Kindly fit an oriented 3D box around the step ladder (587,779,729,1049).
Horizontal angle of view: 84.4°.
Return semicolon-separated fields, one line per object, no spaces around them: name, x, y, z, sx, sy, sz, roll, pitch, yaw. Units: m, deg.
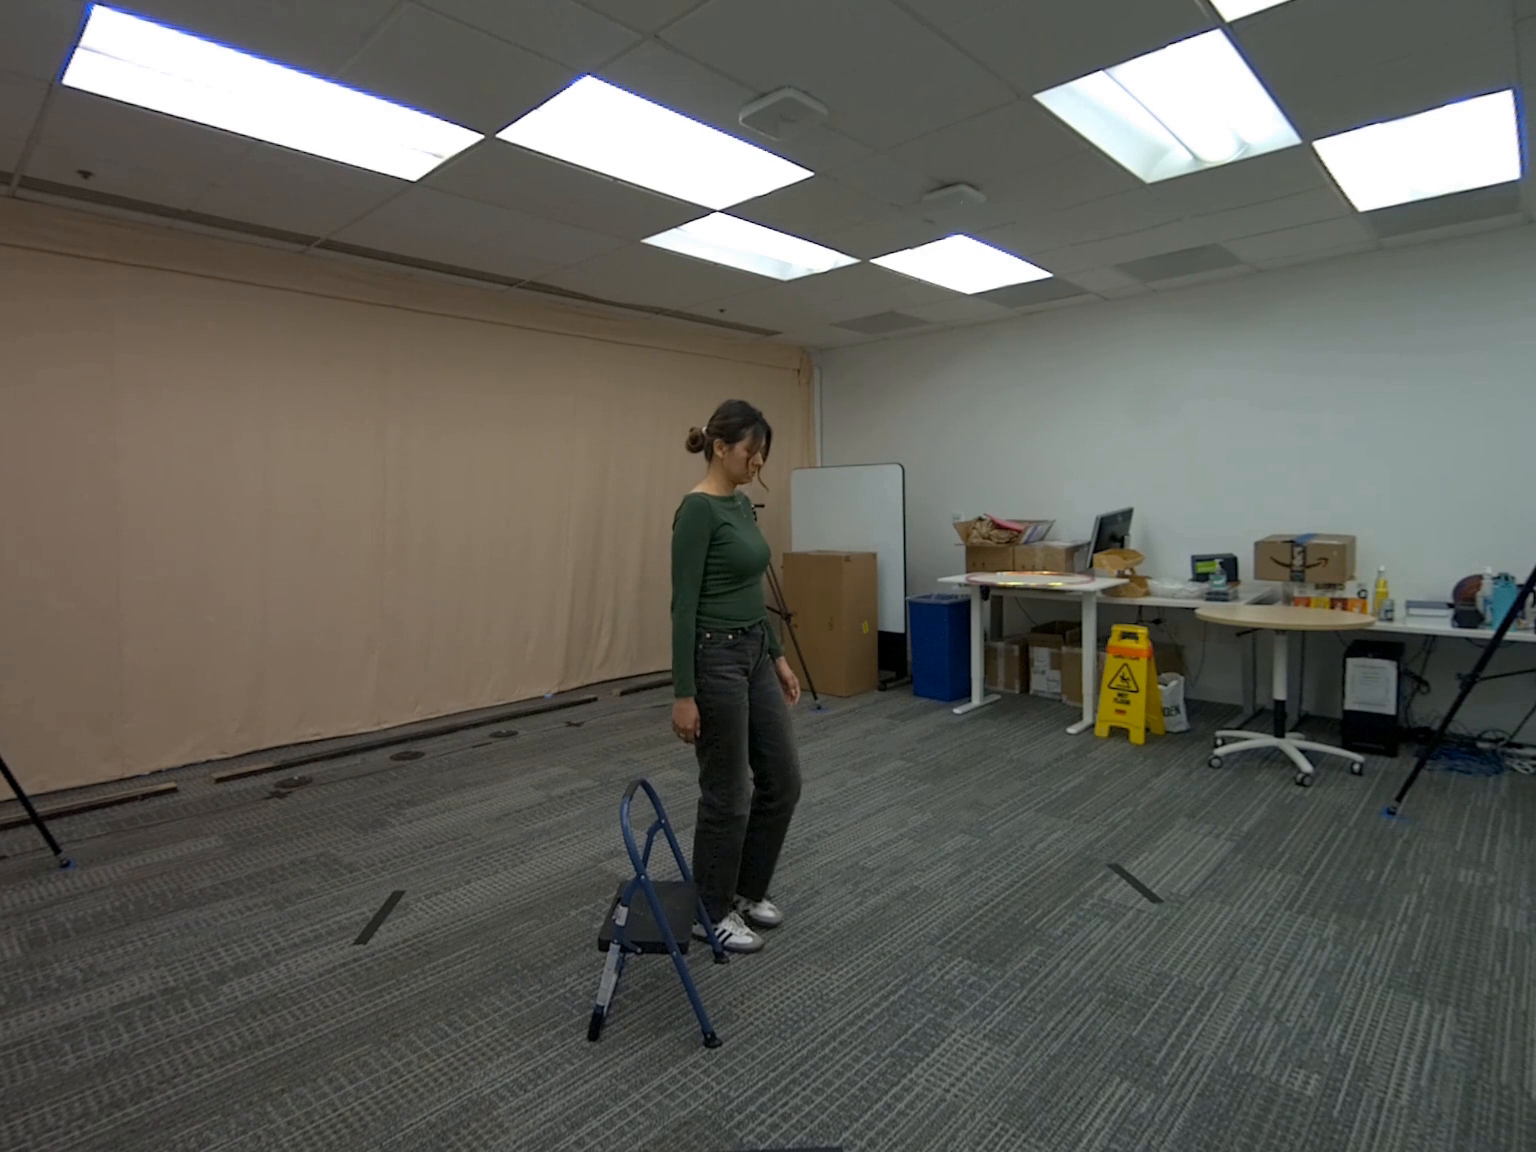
step ladder;-0.307;0.898;2.367;0.350;0.605;0.430;0;3;1
